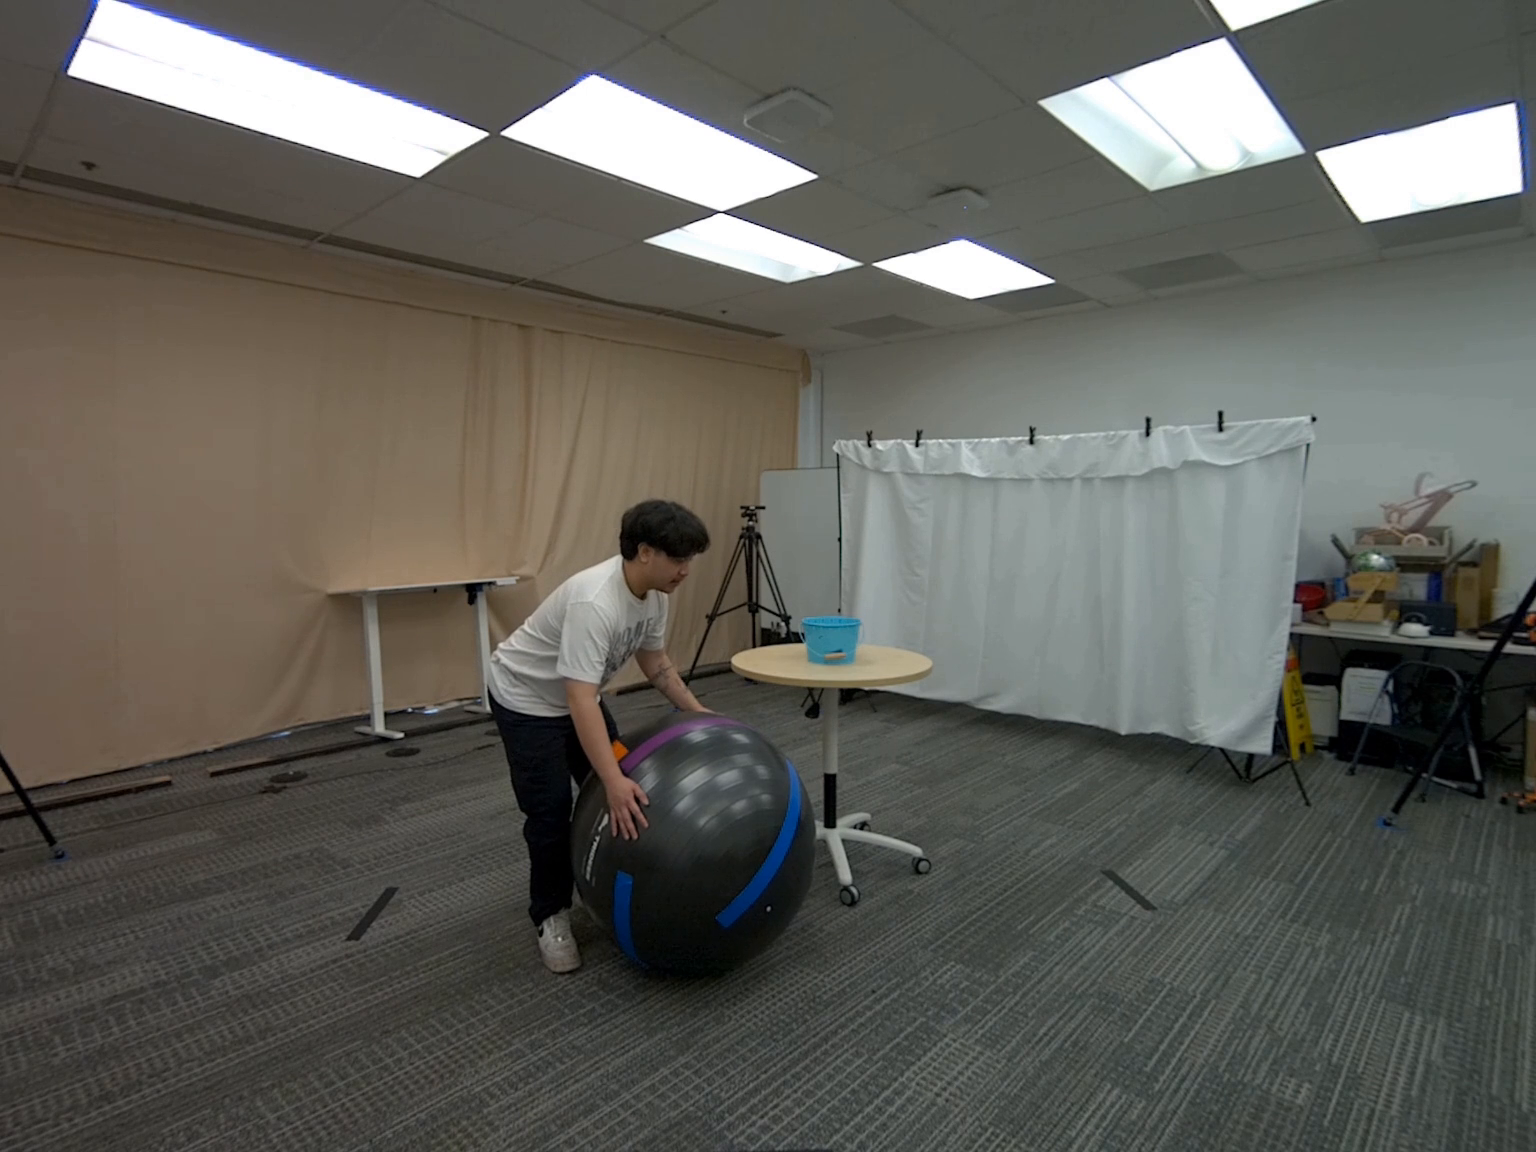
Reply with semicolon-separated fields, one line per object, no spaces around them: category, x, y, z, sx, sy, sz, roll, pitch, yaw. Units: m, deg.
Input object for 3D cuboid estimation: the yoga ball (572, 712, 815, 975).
yoga ball;-0.226;0.815;2.588;0.757;0.756;0.761;0;4;-2
